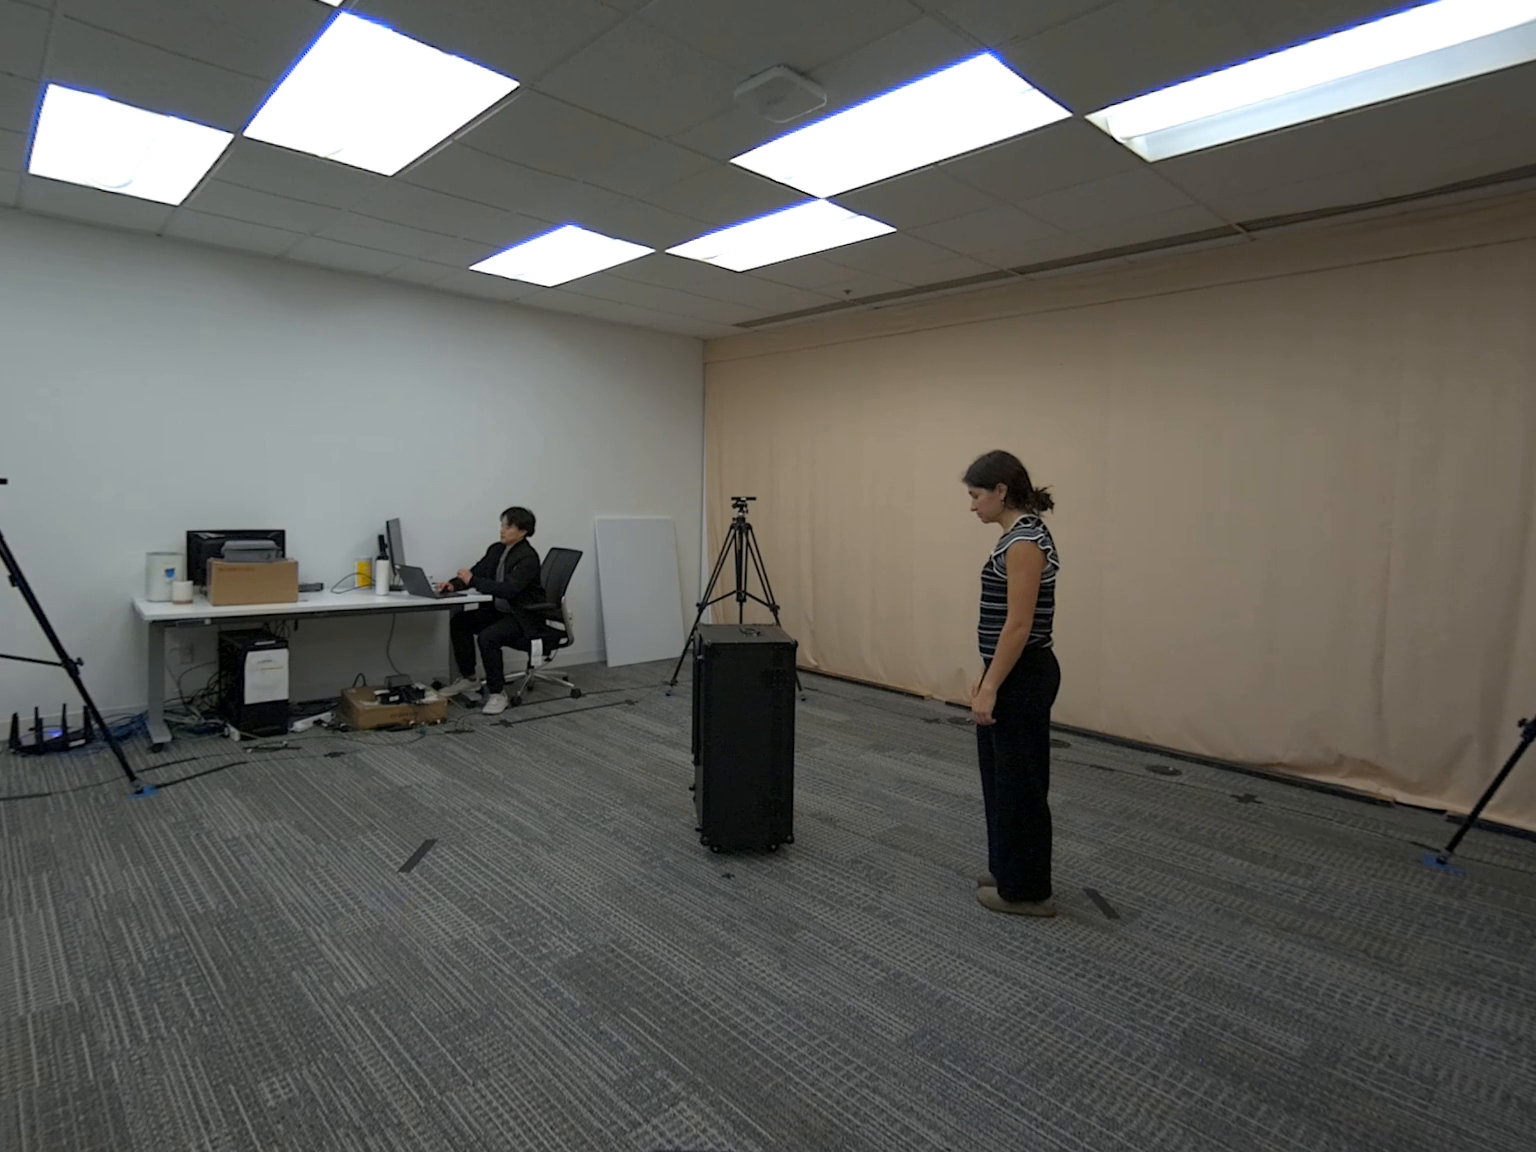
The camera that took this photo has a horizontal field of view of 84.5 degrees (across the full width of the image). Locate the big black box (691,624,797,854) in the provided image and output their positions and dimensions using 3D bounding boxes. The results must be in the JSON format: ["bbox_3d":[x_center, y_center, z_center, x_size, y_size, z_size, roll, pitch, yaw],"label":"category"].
[{"bbox_3d":[-0.127,0.651,3.439,0.395,0.859,0.524,0,3,-6],"label":"big black box"}]
